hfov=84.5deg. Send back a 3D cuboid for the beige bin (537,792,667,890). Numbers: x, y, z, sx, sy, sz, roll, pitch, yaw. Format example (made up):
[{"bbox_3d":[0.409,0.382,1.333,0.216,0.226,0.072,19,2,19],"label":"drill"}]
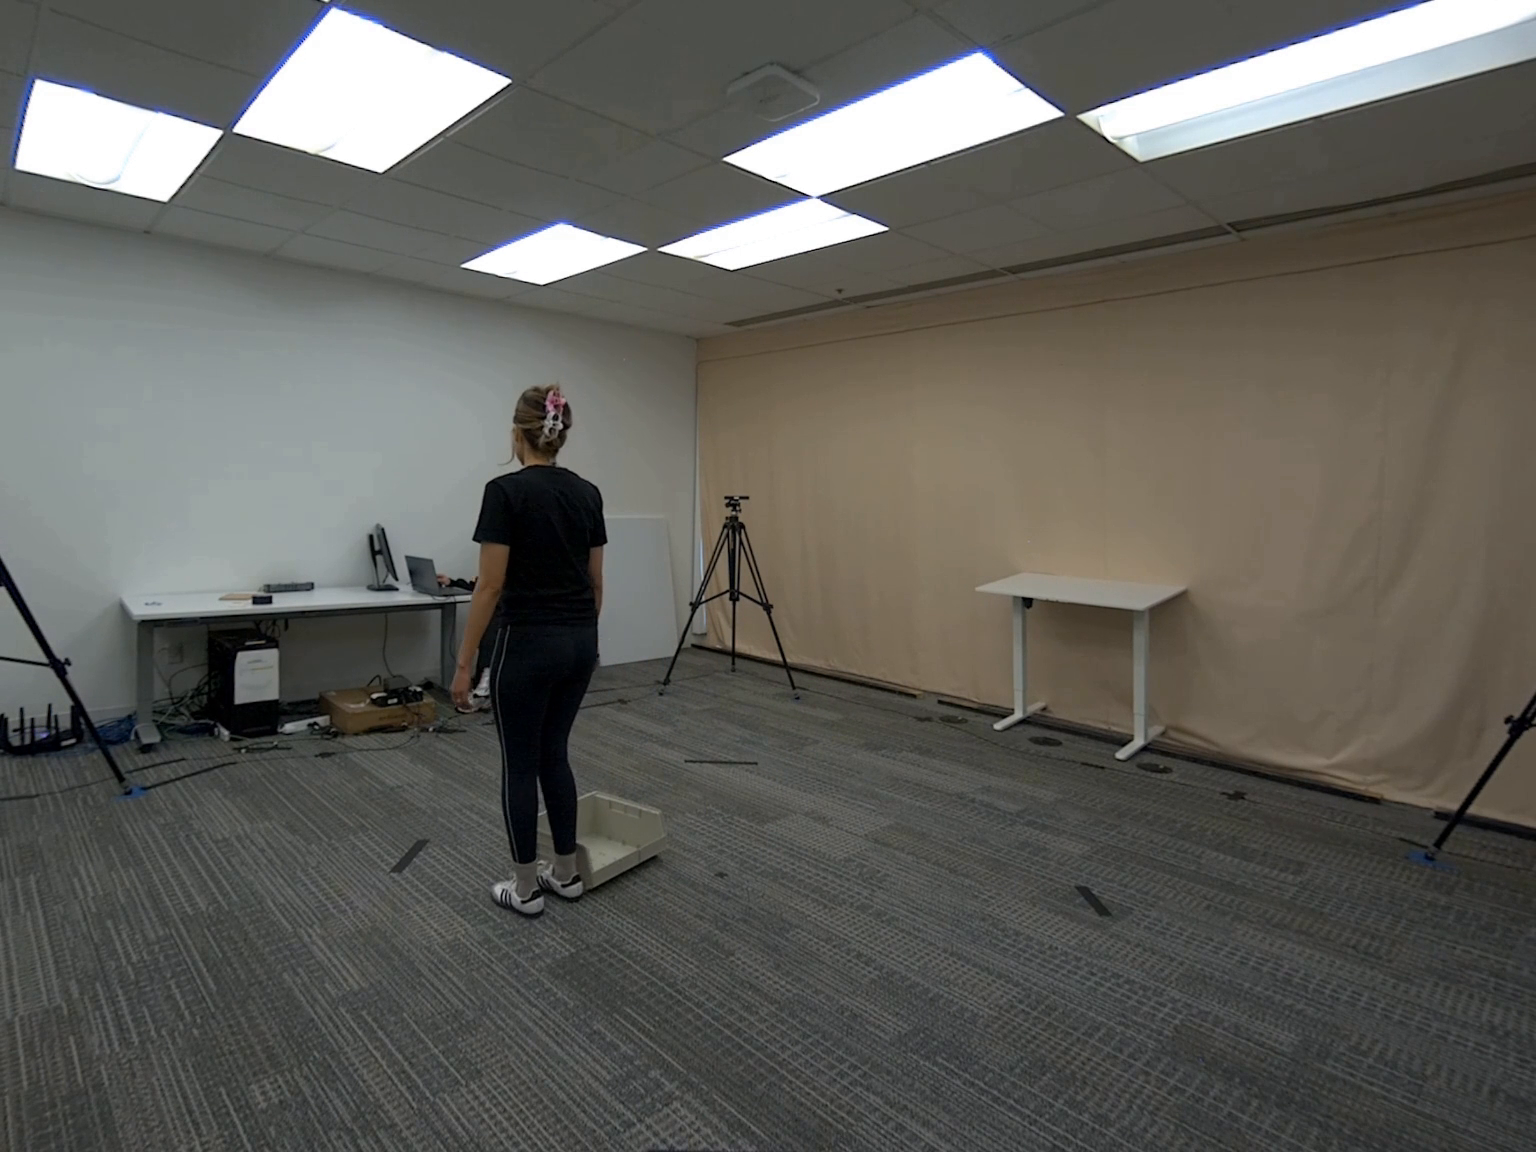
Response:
[{"bbox_3d":[-0.665,1.002,3.168,0.386,0.188,0.414,3,6,33],"label":"beige bin"}]
